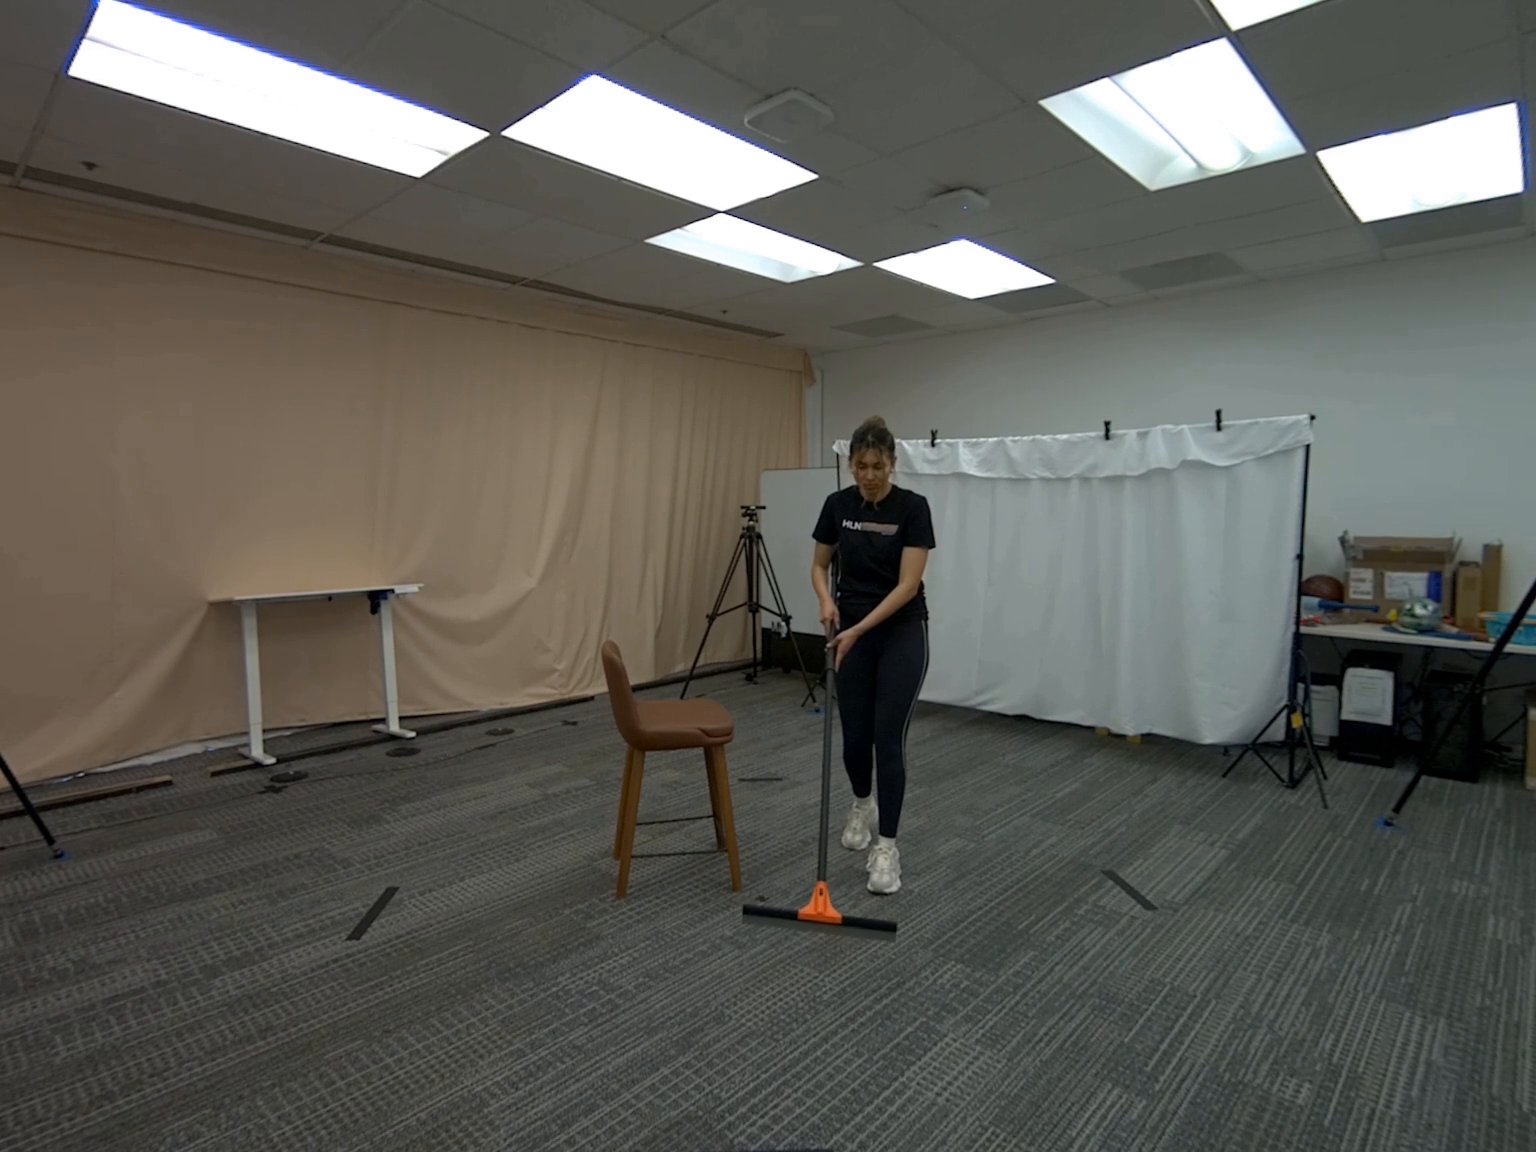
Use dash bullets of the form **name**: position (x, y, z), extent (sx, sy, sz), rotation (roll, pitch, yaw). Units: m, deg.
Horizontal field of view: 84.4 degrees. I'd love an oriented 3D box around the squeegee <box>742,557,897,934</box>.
- **squeegee**: position (0.223, 0.437, 2.879), extent (0.440, 0.052, 1.558), rotation (3, 47, 5)
